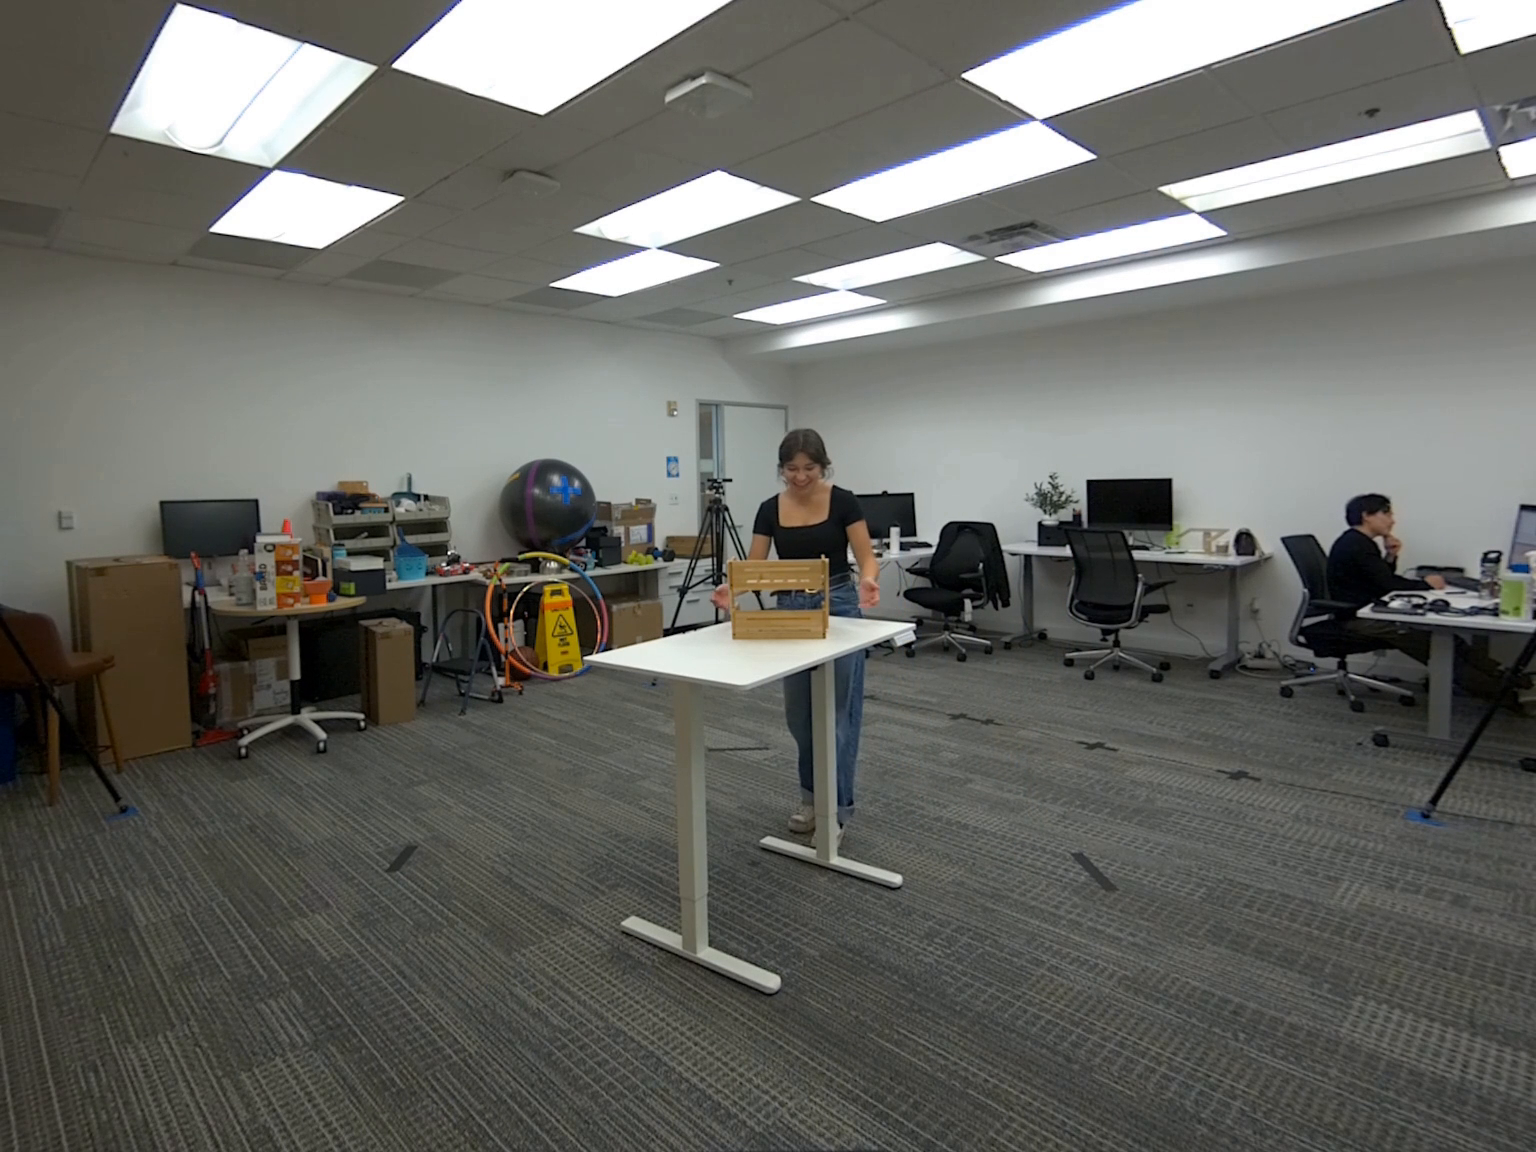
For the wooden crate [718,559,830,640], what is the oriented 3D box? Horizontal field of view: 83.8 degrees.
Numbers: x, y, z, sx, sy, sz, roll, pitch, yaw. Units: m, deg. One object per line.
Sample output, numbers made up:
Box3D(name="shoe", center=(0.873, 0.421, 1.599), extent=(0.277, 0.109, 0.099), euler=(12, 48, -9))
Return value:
Box3D(name="wooden crate", center=(0.043, 0.061, 2.839), extent=(0.326, 0.272, 0.302), euler=(-2, 5, 4))
